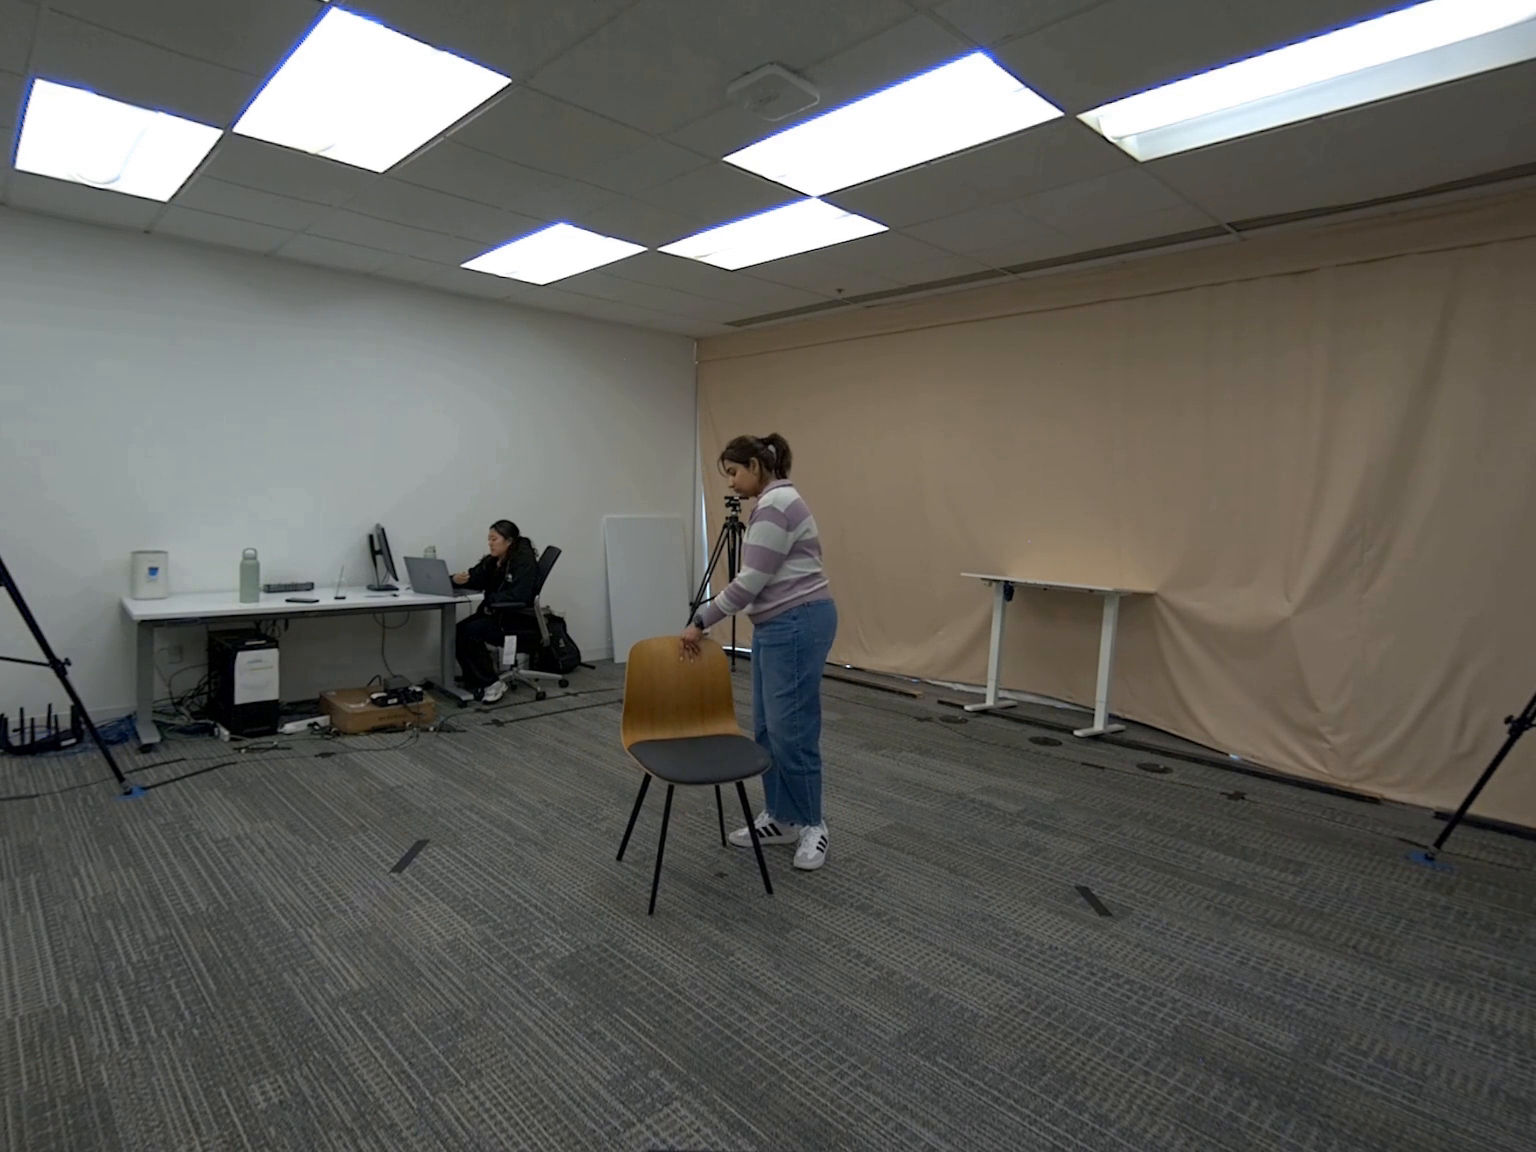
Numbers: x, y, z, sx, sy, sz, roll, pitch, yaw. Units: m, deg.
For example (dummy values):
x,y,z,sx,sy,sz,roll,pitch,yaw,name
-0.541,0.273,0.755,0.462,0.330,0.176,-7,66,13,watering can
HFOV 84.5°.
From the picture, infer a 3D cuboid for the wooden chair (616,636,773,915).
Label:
x,y,z,sx,sy,sz,roll,pitch,yaw,name
-0.267,0.680,3.036,0.470,0.878,0.532,0,0,-23,wooden chair
